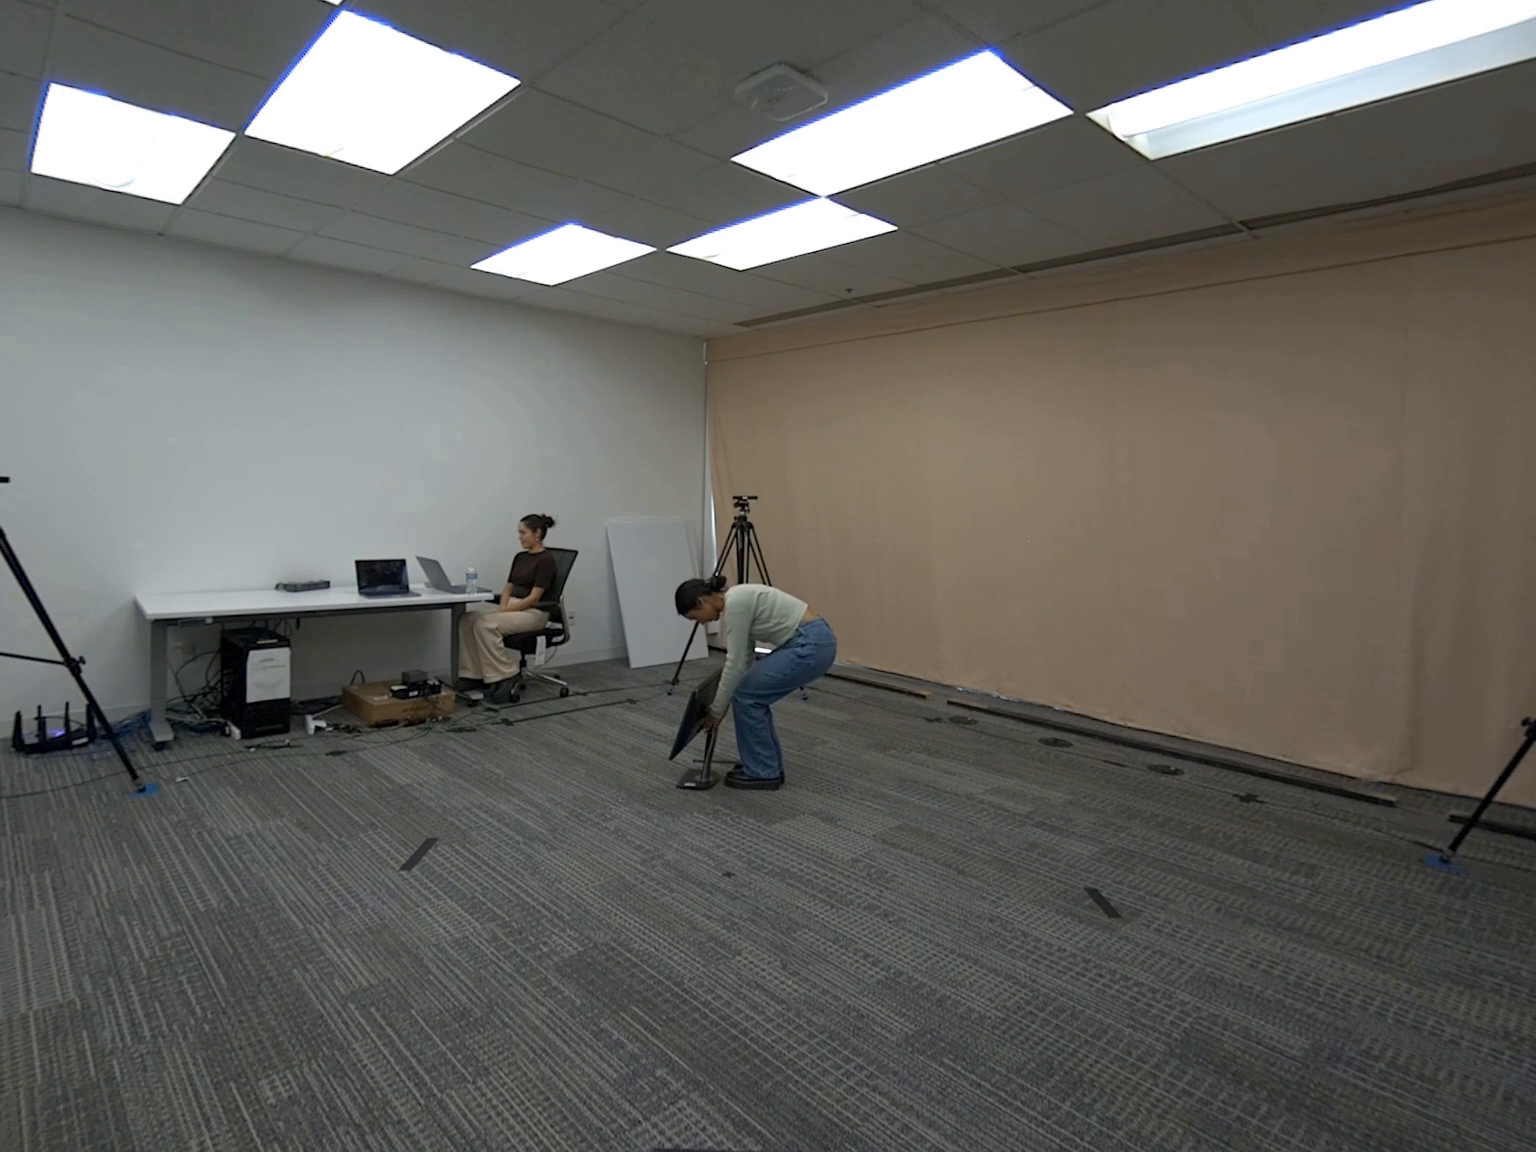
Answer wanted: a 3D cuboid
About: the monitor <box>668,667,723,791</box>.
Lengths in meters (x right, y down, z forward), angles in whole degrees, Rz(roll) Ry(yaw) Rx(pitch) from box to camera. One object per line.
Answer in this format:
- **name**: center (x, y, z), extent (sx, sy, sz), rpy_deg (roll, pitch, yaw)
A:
- **monitor**: center (-0.334, 0.742, 4.134), extent (0.176, 0.514, 0.527), rpy_deg (1, 5, 10)
